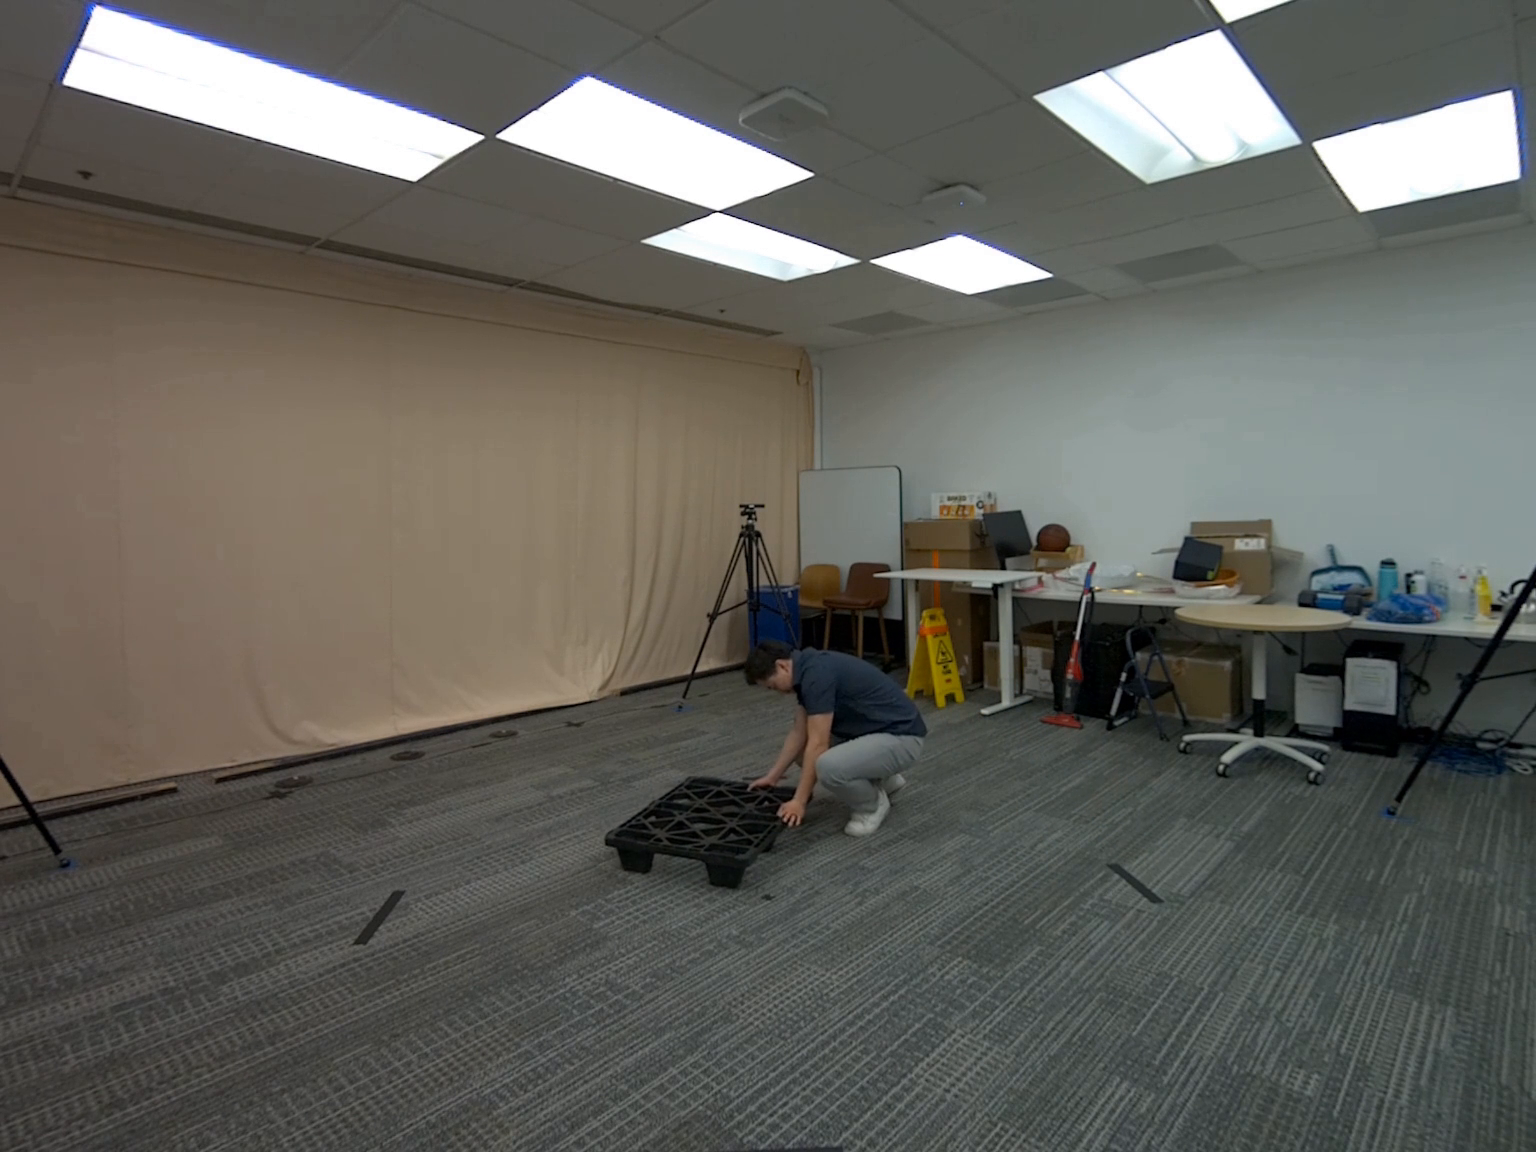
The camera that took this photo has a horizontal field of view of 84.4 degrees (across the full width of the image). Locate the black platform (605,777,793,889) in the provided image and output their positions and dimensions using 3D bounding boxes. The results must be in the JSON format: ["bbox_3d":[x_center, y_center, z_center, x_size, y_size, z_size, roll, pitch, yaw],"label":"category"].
[{"bbox_3d":[-0.216,1.034,3.465,0.619,0.143,0.789,0,4,21],"label":"black platform"}]
